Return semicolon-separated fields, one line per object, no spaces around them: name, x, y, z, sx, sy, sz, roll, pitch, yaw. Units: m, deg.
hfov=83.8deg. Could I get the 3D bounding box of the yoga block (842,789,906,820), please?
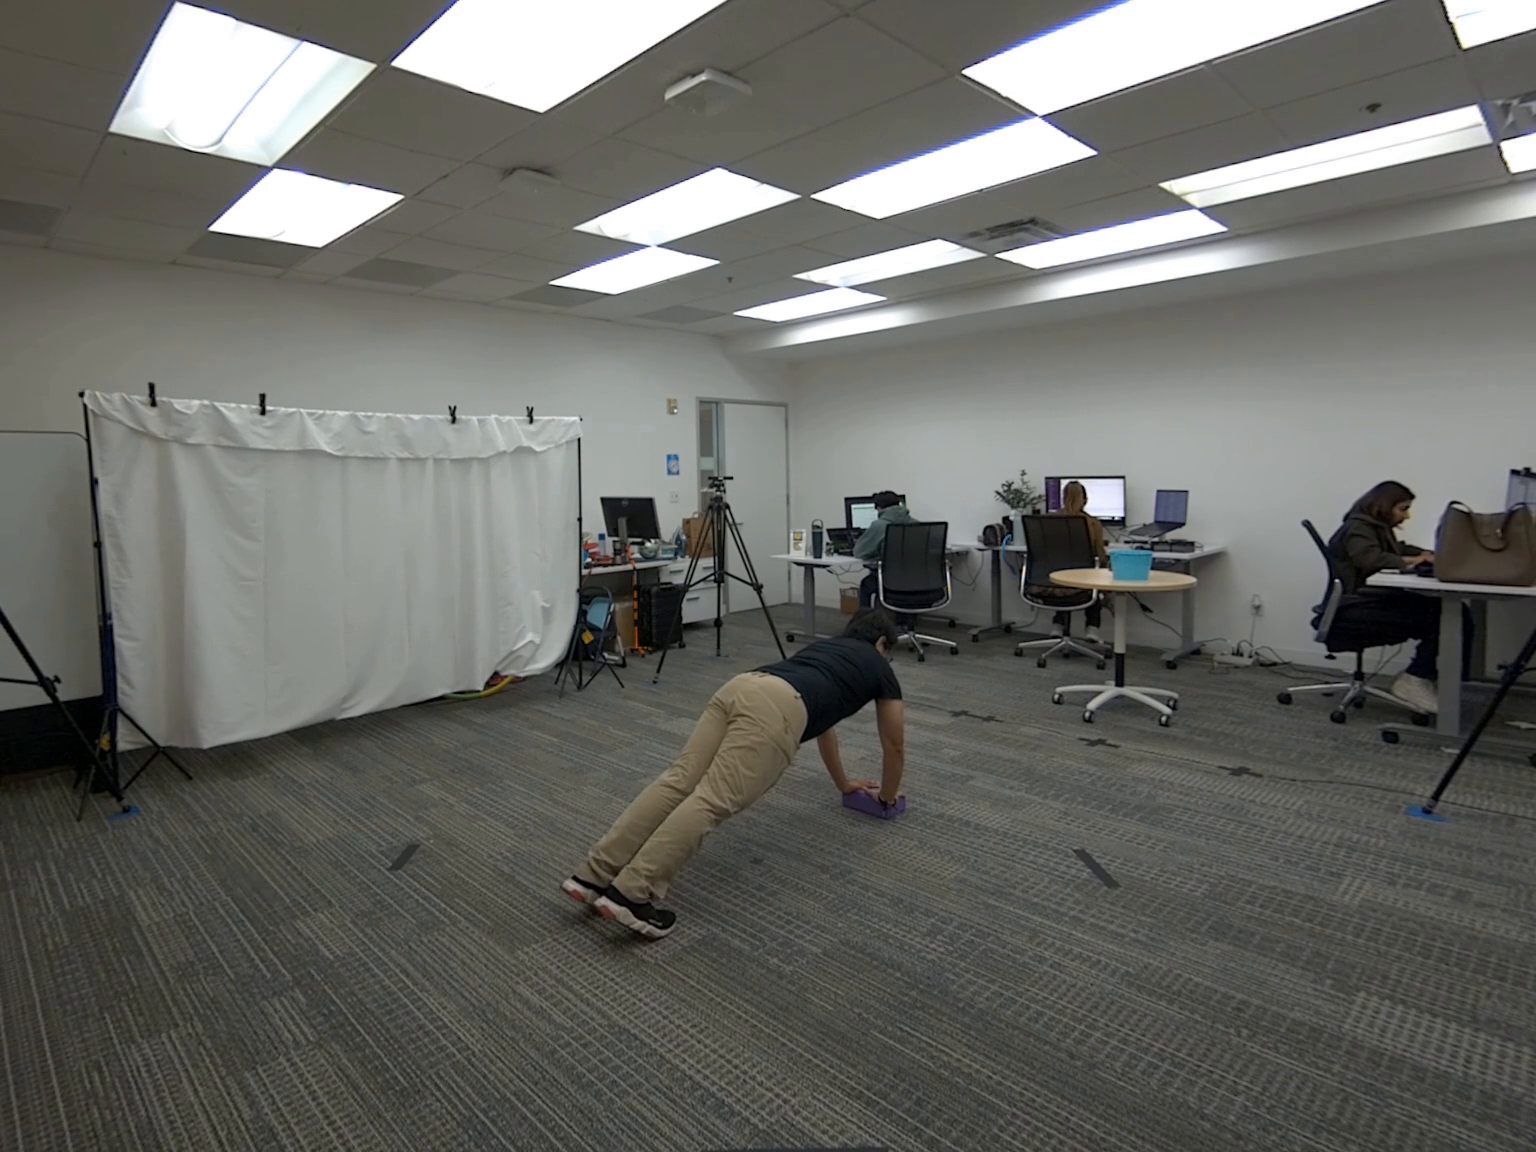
yoga block;0.443;0.936;3.583;0.236;0.076;0.145;3;5;43
